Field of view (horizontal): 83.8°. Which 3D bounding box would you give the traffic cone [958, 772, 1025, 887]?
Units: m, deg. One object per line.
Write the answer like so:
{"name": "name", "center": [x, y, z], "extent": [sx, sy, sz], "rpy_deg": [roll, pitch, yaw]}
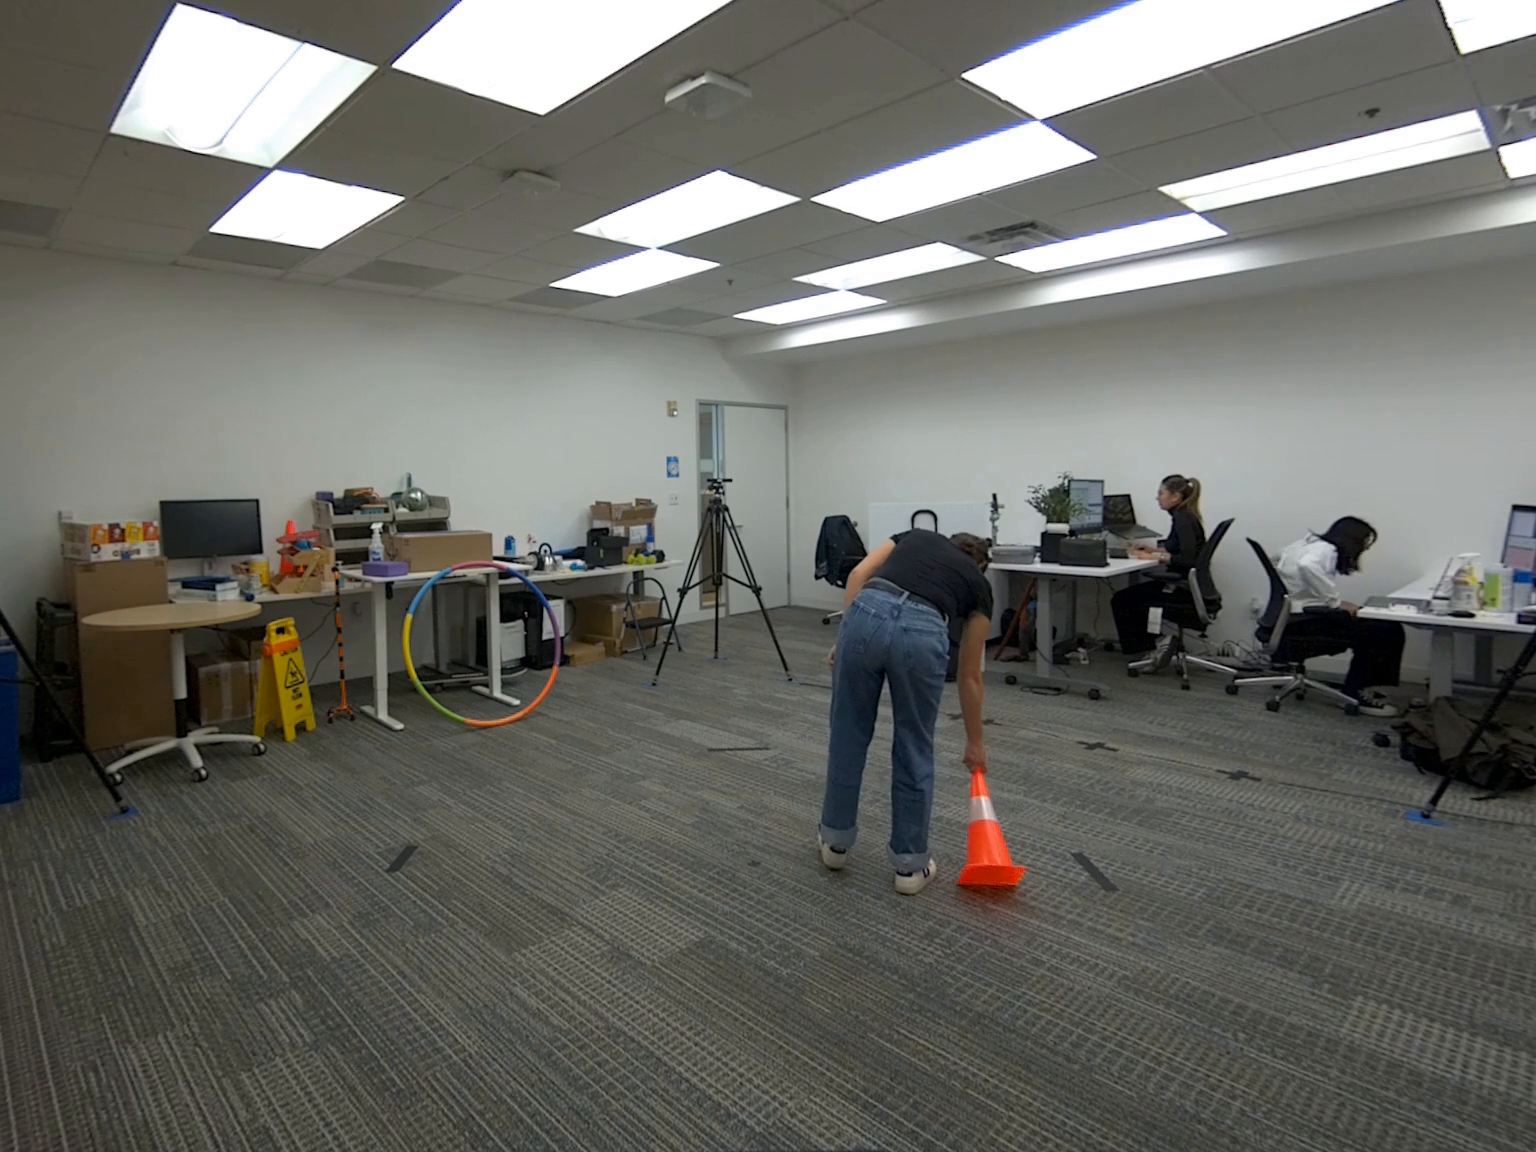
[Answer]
{"name": "traffic cone", "center": [0.739, 0.843, 2.946], "extent": [0.204, 0.393, 0.199], "rpy_deg": [0, -37, 1]}
